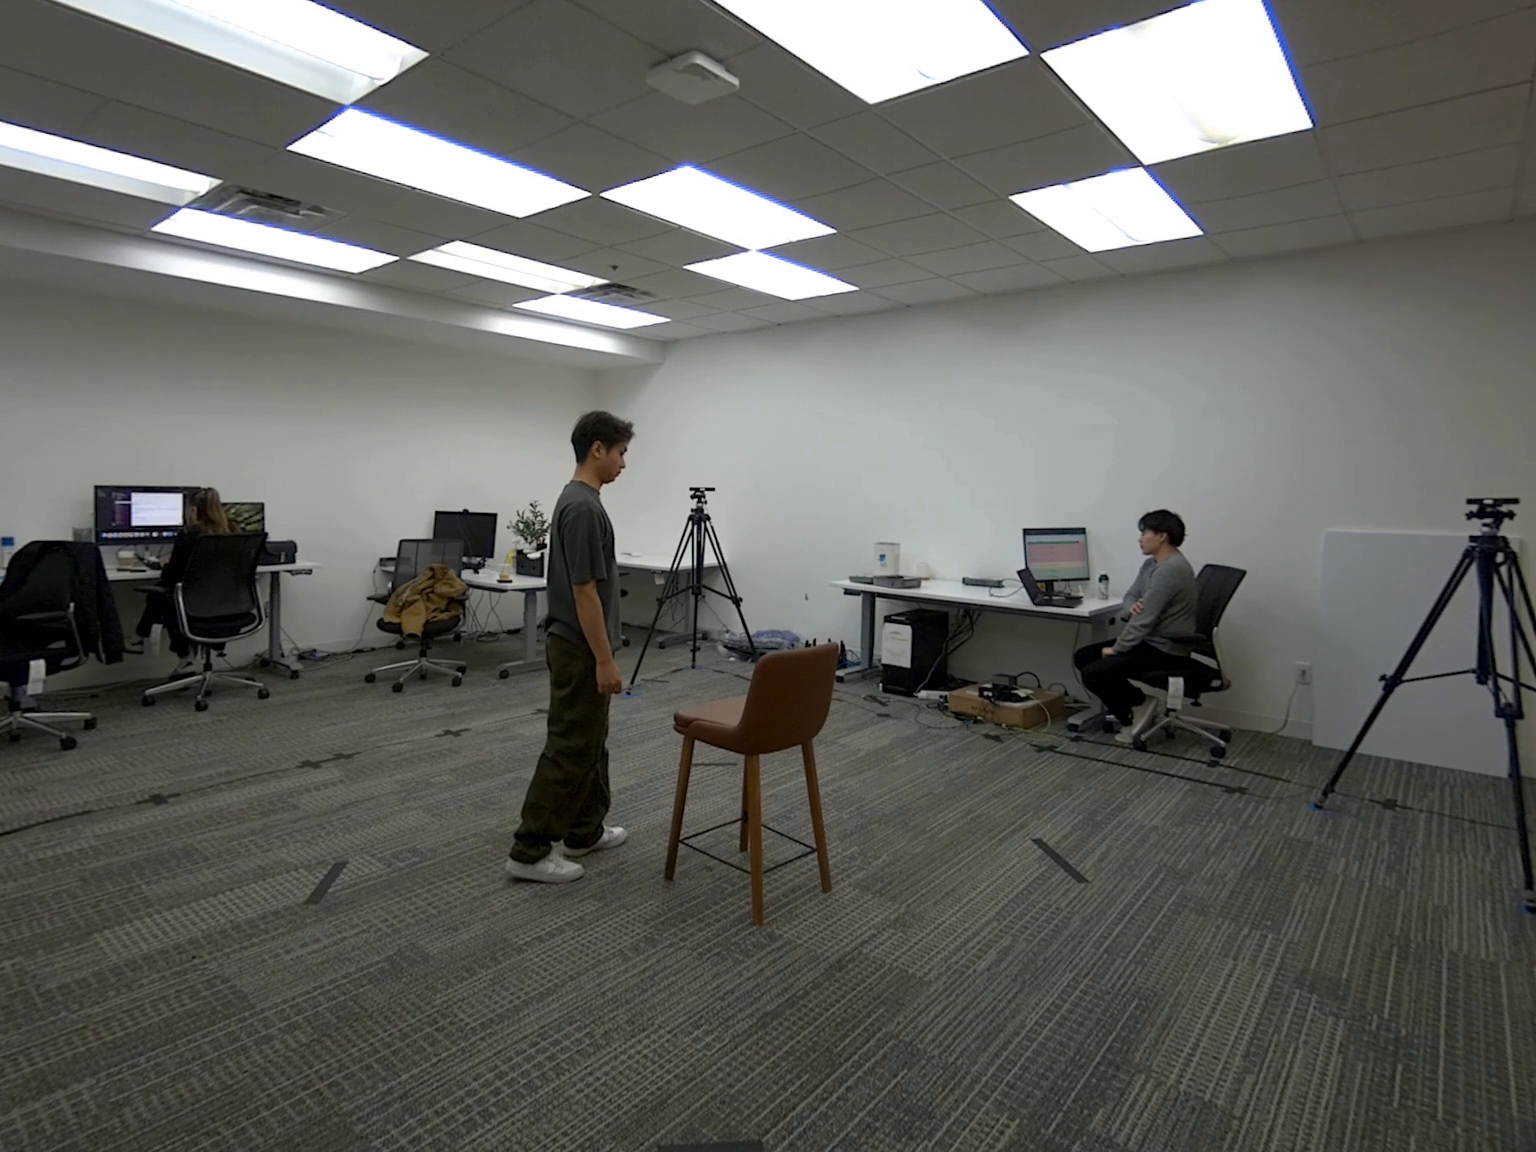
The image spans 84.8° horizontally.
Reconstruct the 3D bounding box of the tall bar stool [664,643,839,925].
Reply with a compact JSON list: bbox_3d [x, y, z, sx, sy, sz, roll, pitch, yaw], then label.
[{"bbox_3d":[-0.065,0.646,2.963,0.484,0.886,0.442,7,6,44],"label":"tall bar stool"}]
